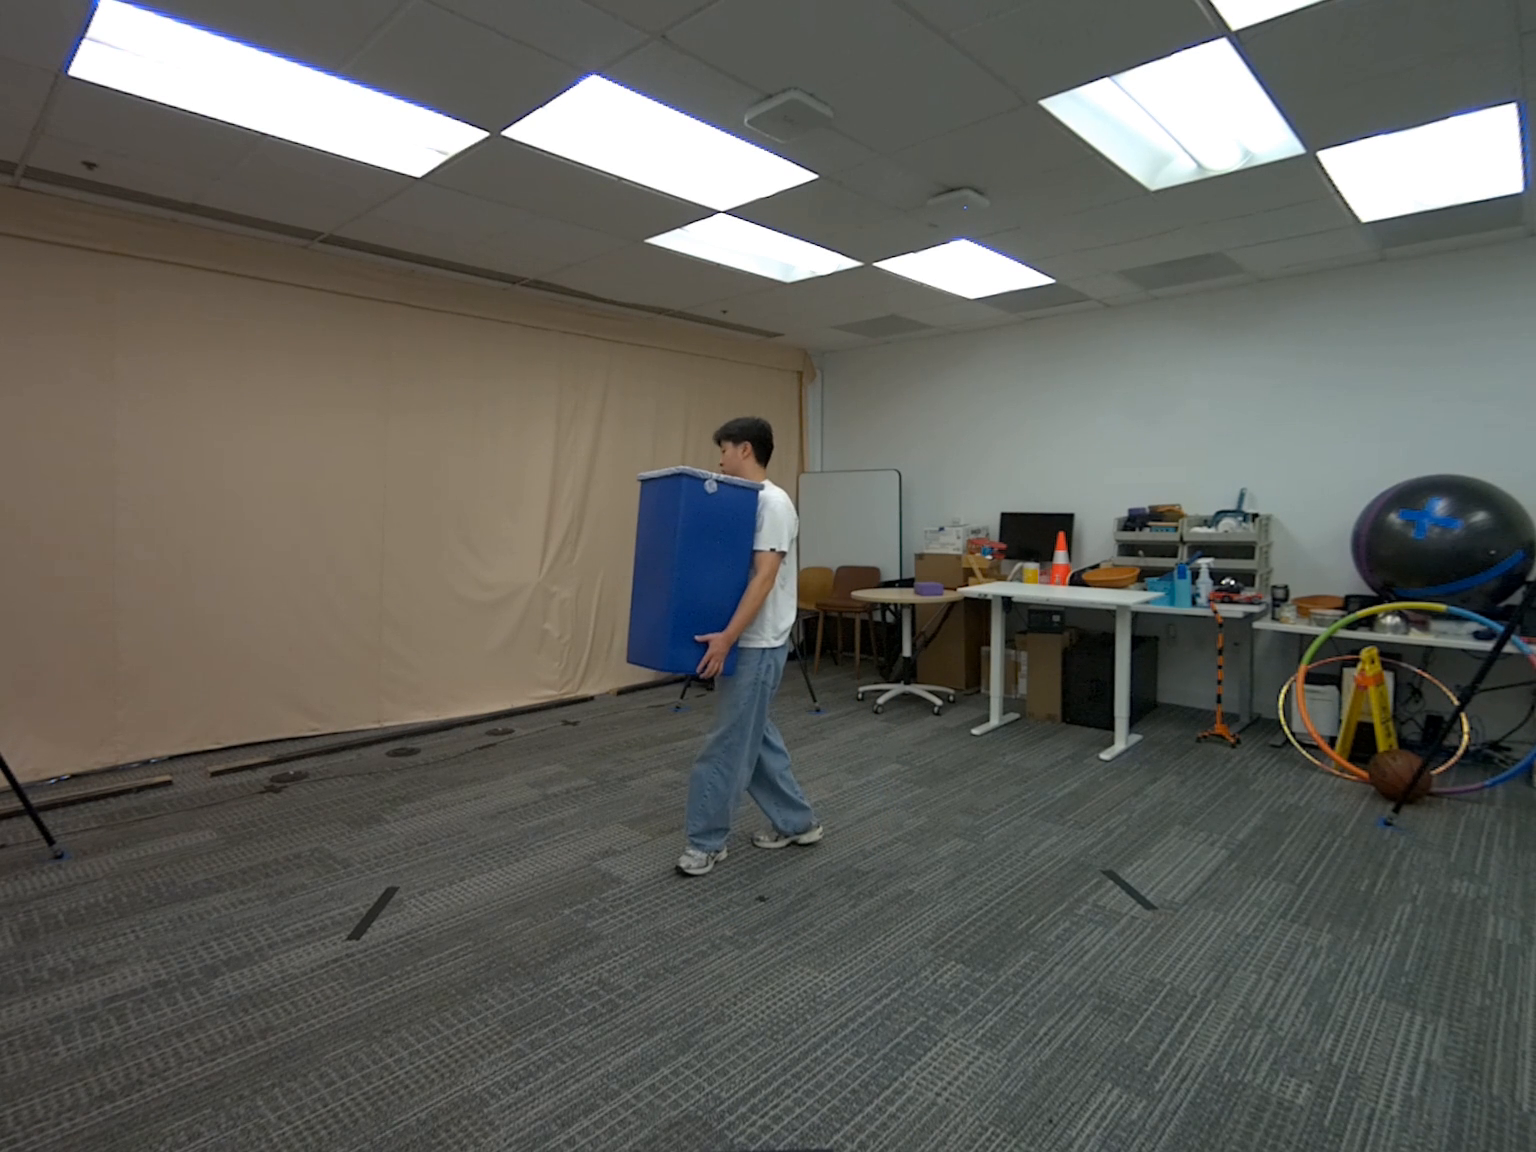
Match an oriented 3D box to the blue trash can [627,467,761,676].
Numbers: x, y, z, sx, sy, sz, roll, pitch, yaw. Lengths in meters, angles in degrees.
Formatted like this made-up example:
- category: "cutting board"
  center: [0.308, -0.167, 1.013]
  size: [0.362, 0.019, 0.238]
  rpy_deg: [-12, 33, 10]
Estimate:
- category: "blue trash can"
  center: [-0.305, -0.015, 3.120]
  size: [0.366, 0.715, 0.385]
  rpy_deg: [10, -6, -35]
